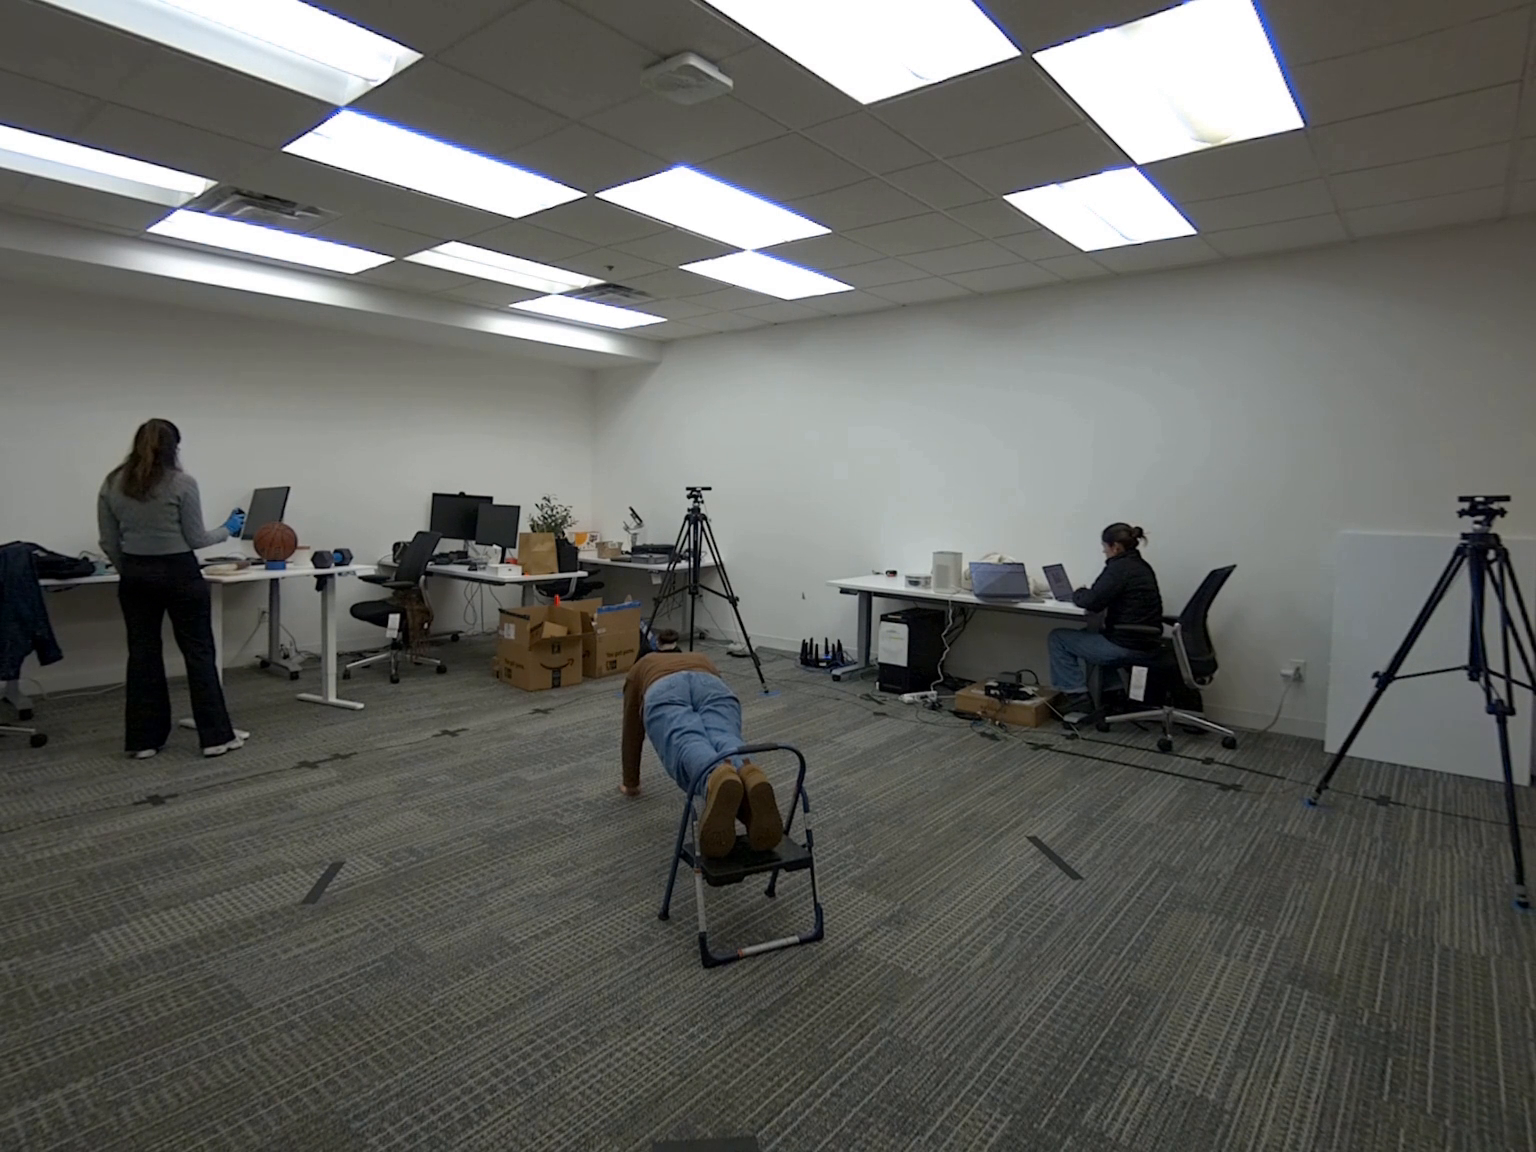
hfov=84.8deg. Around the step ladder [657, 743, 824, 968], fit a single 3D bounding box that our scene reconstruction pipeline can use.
[{"bbox_3d":[-0.089,0.809,2.679,0.419,0.604,0.360,-1,4,-29],"label":"step ladder"}]
